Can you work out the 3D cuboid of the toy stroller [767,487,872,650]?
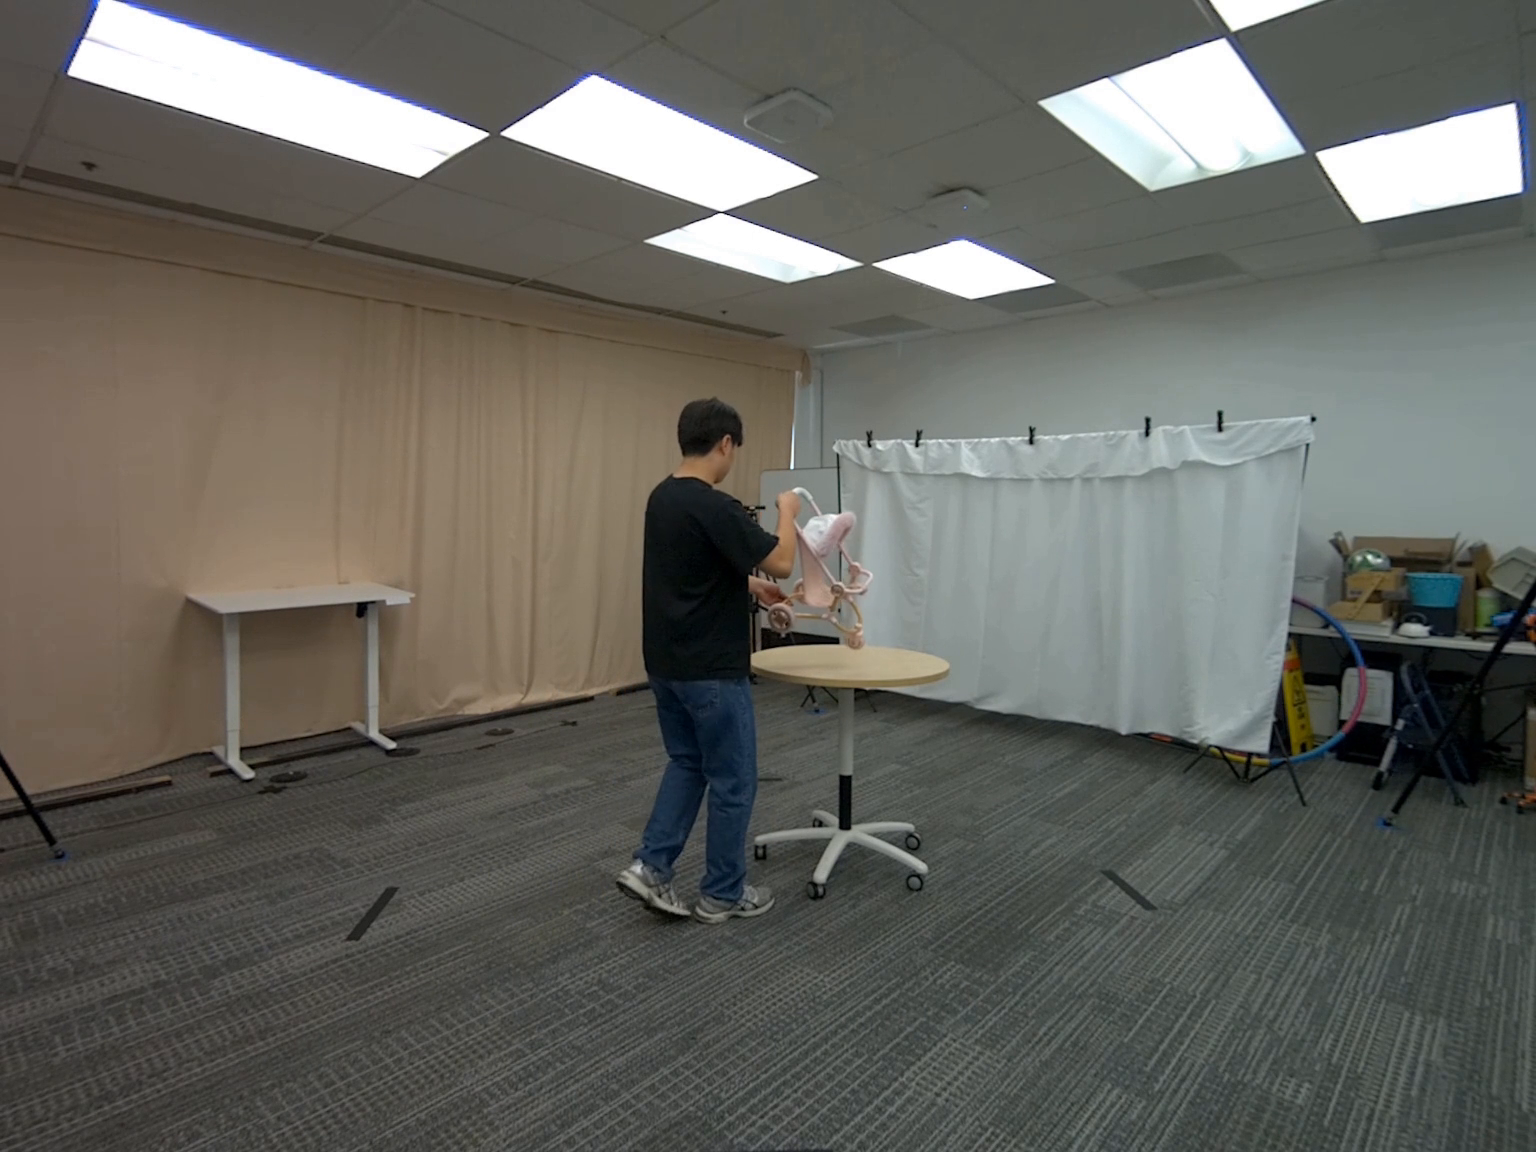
[{"bbox_3d":[0.208,-0.006,2.947,0.351,0.529,0.276,16,24,26],"label":"toy stroller"}]
